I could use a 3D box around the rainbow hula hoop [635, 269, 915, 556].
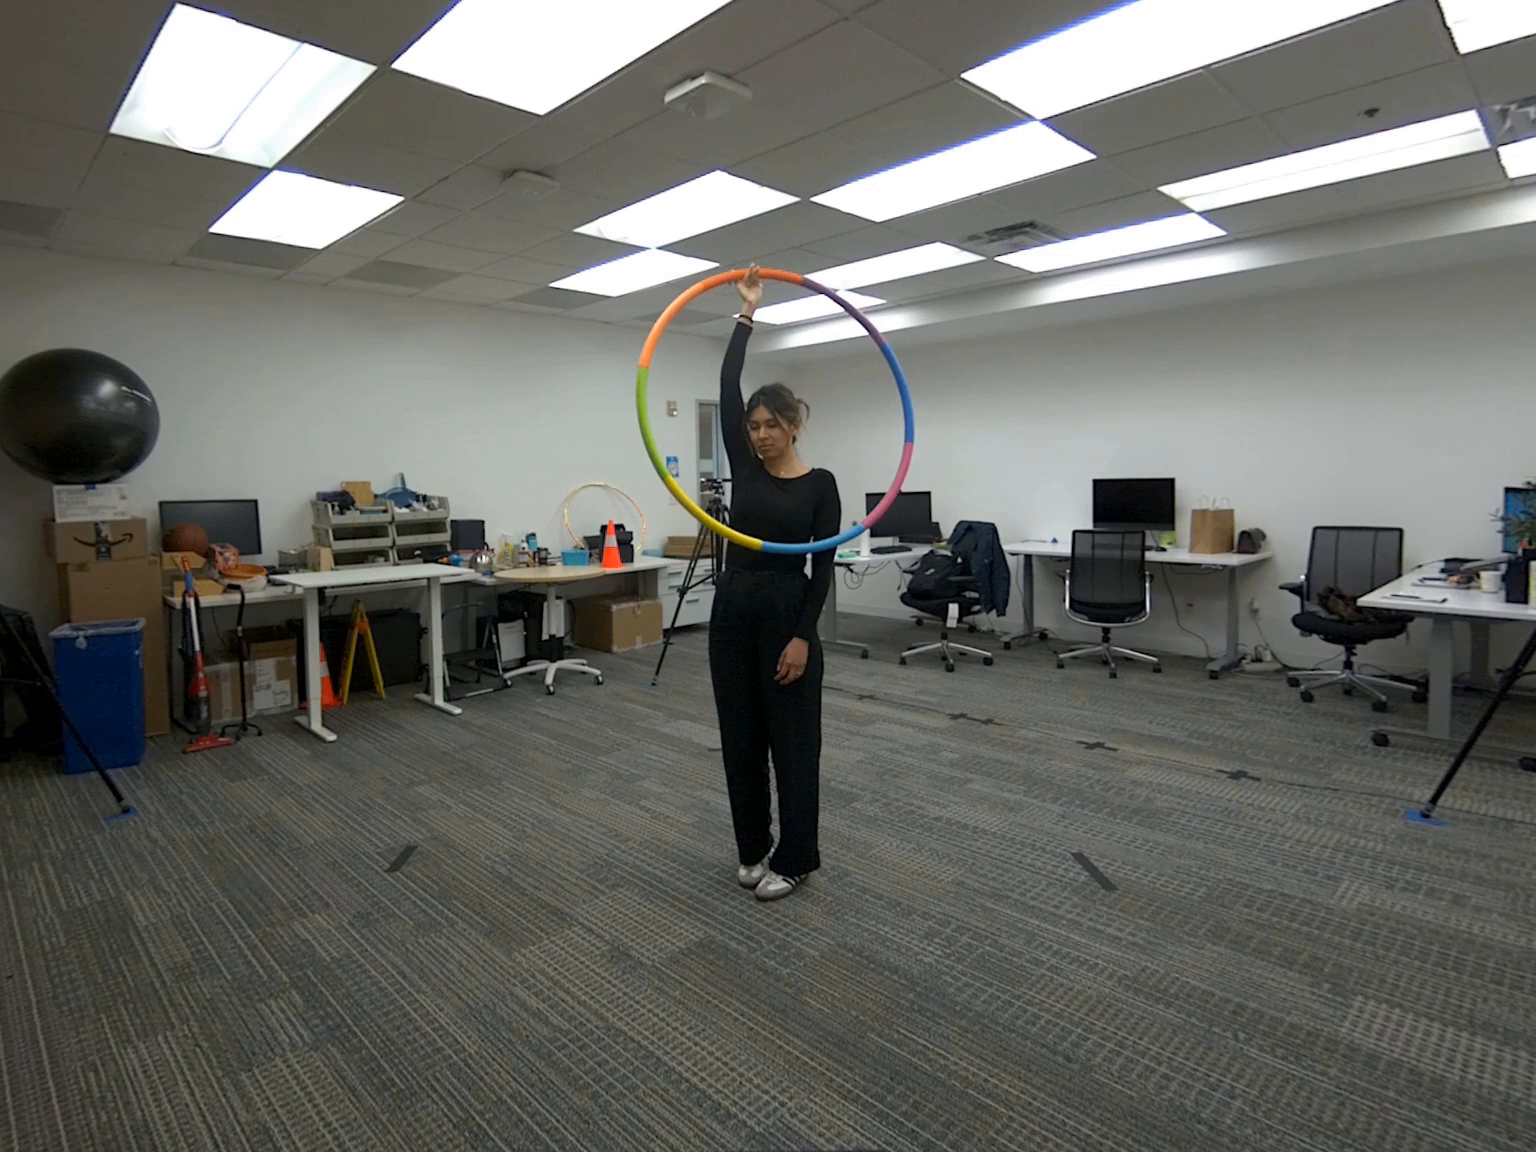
[{"bbox_3d":[0.042,-0.561,2.840,0.969,0.996,0.052,-3,-11,-18],"label":"rainbow hula hoop"}]
